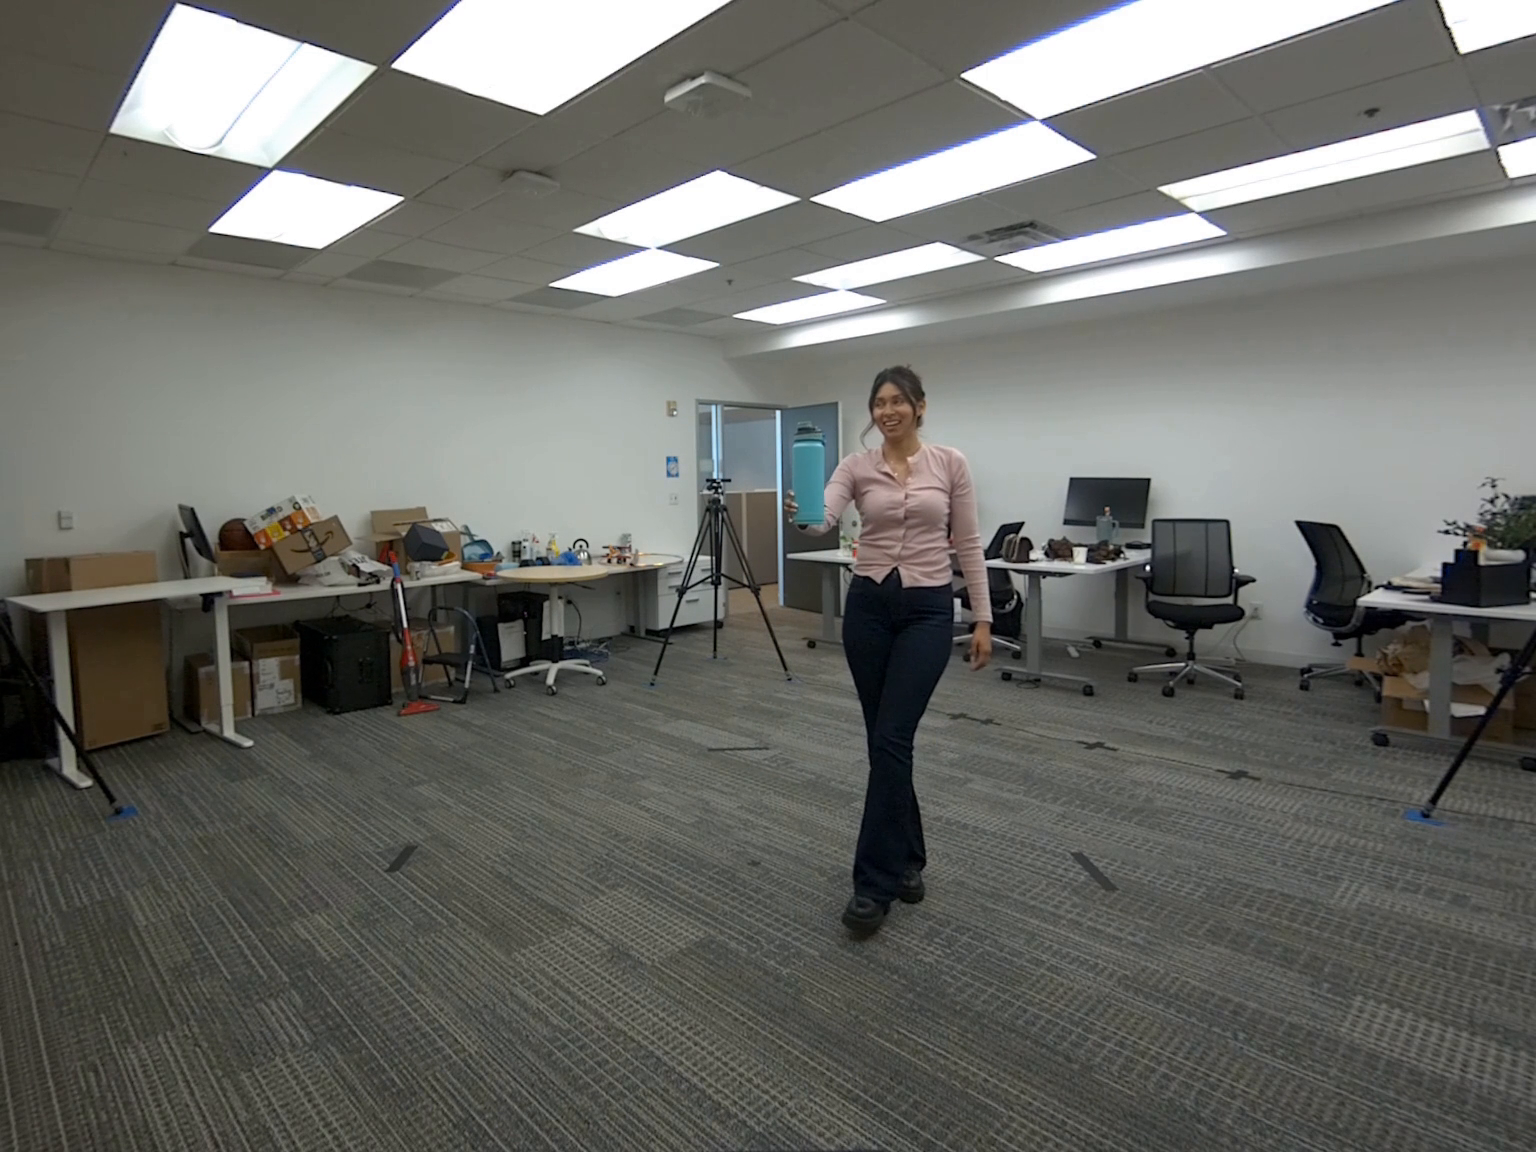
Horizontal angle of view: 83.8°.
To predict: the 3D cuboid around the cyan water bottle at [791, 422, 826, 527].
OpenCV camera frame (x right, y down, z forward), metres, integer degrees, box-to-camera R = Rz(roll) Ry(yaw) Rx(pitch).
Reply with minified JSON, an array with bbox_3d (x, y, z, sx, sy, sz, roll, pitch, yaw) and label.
[{"bbox_3d":[0.119,-0.289,2.386,0.092,0.283,0.092,0,0,-2],"label":"cyan water bottle"}]
